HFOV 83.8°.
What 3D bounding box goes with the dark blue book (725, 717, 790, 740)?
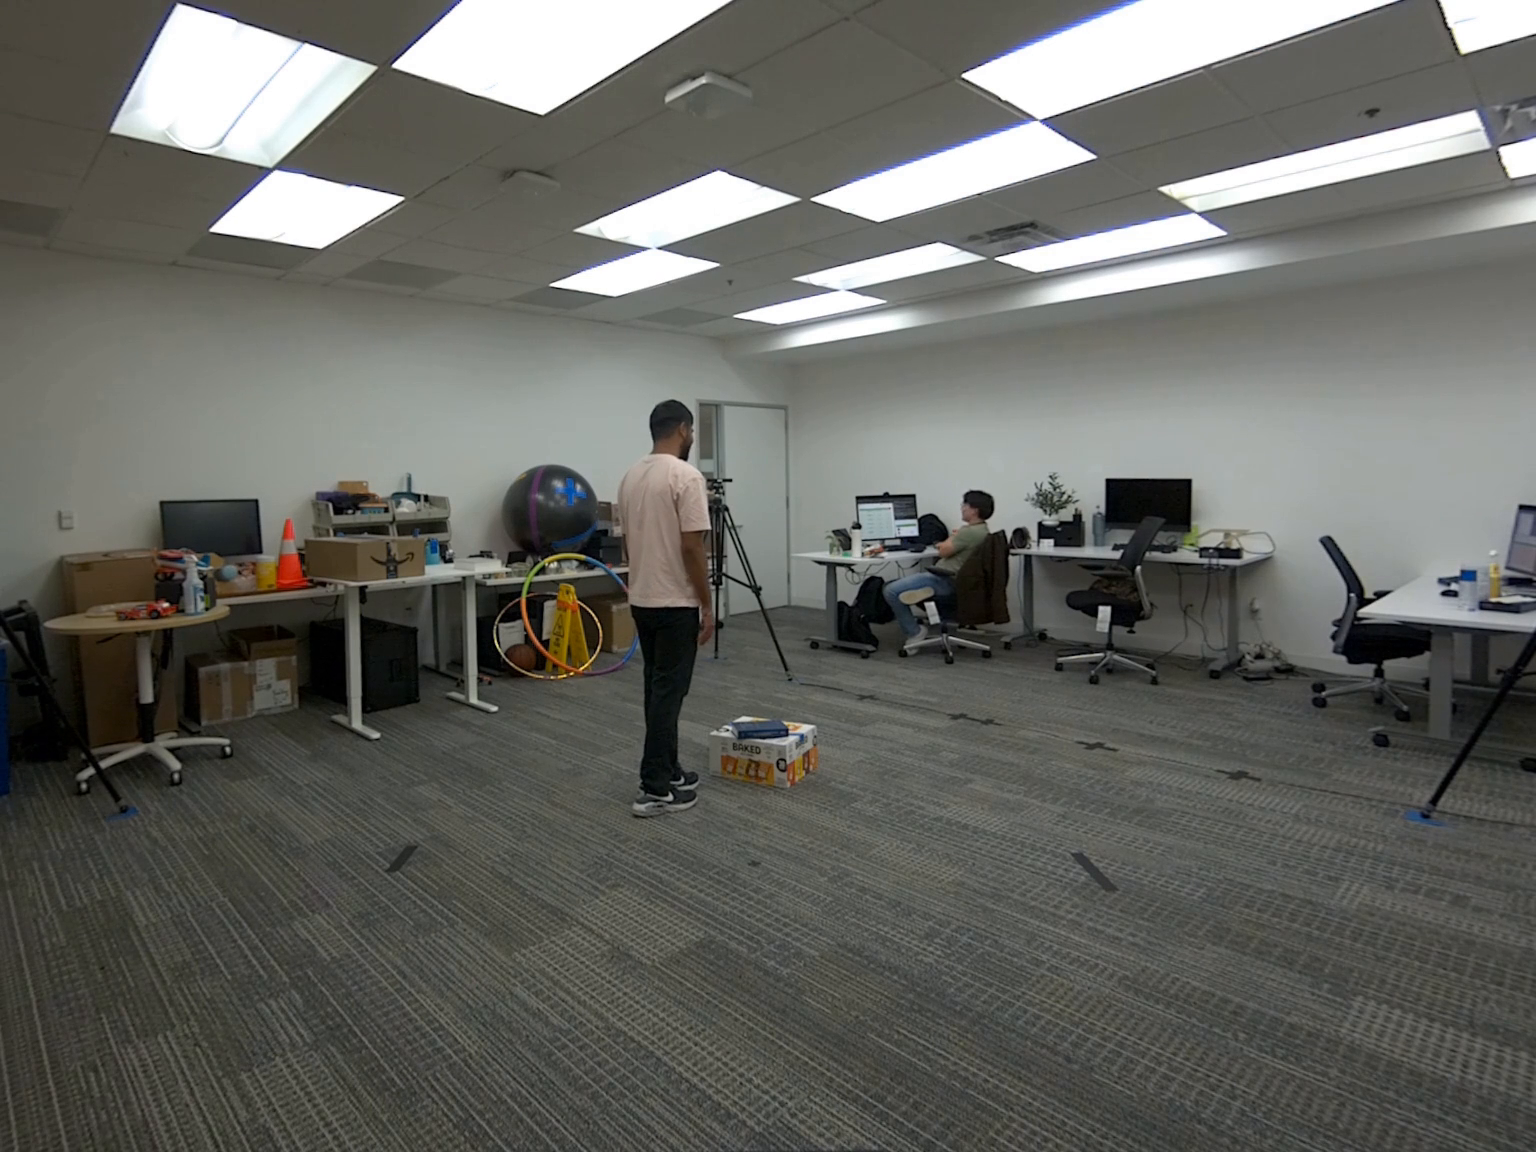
[{"bbox_3d":[-0.034,0.725,4.038,0.242,0.045,0.165,-2,4,-12],"label":"dark blue book"}]
